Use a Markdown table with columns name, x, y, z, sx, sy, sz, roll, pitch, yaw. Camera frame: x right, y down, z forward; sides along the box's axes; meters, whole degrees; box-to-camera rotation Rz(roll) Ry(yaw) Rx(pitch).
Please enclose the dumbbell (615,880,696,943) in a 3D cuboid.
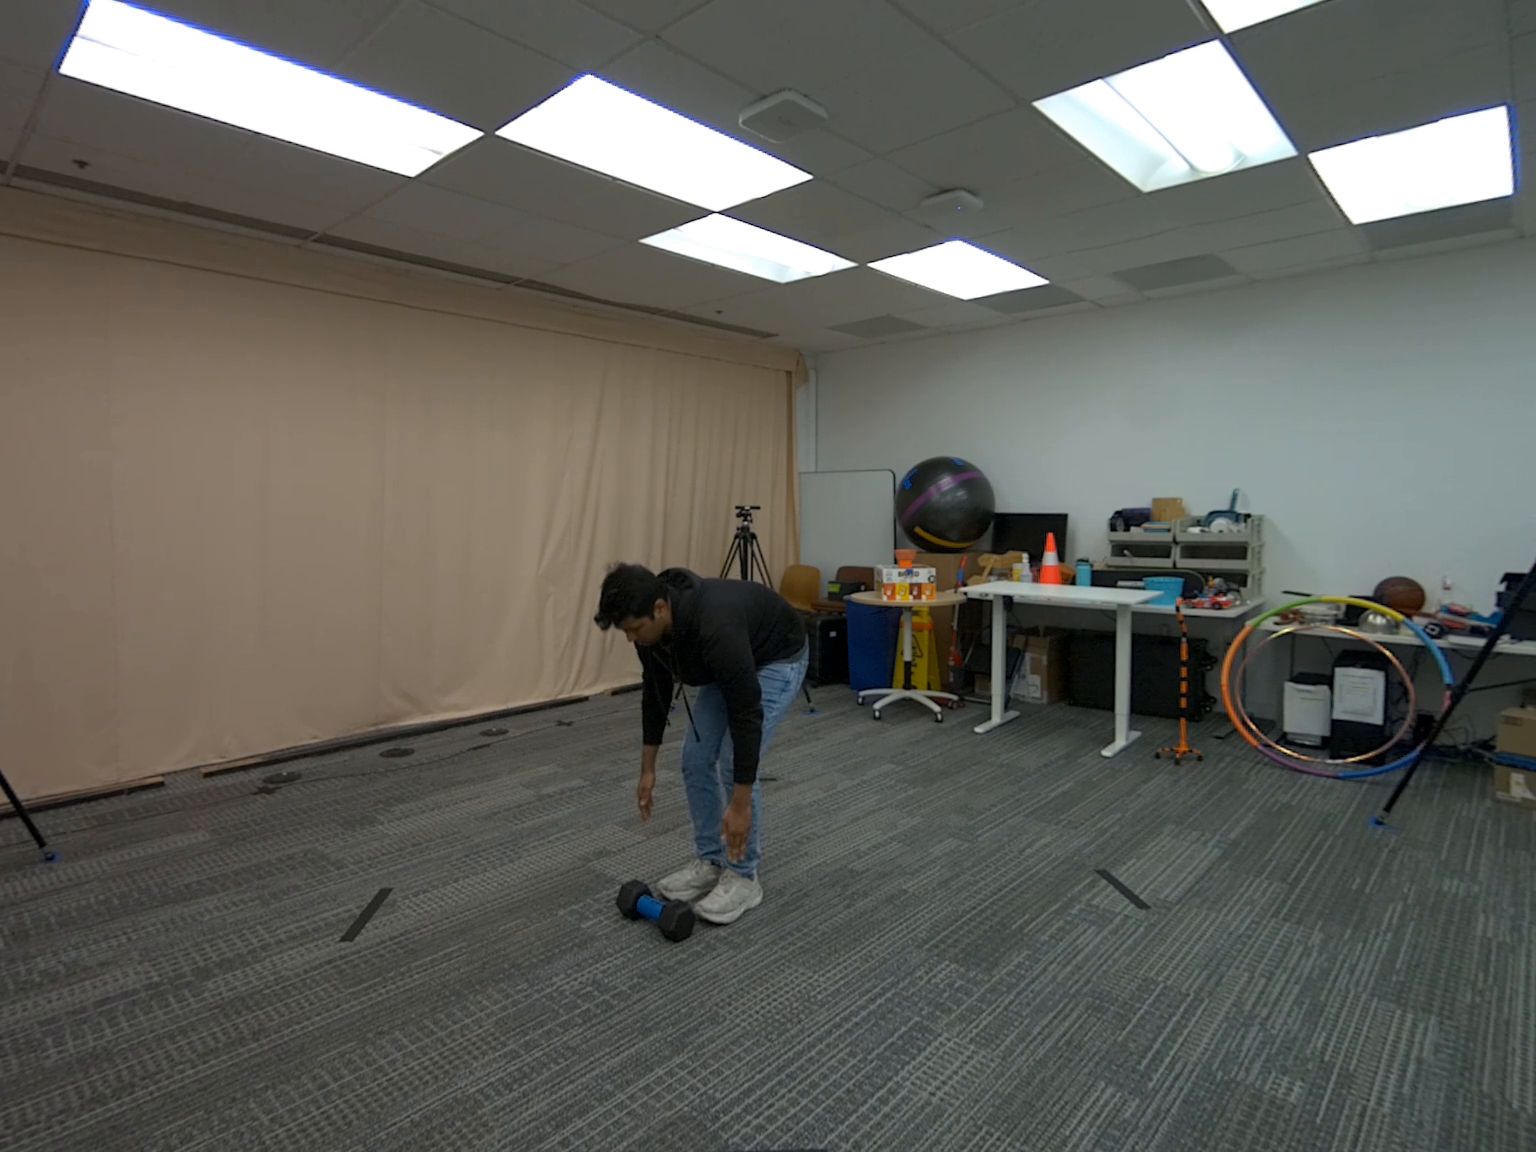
| name | x | y | z | sx | sy | sz | roll | pitch | yaw |
| --- | --- | --- | --- | --- | --- | --- | --- | --- | --- |
| dumbbell | -0.372 | 1.109 | 2.793 | 0.303 | 0.108 | 0.119 | 4 | 7 | 43 |
